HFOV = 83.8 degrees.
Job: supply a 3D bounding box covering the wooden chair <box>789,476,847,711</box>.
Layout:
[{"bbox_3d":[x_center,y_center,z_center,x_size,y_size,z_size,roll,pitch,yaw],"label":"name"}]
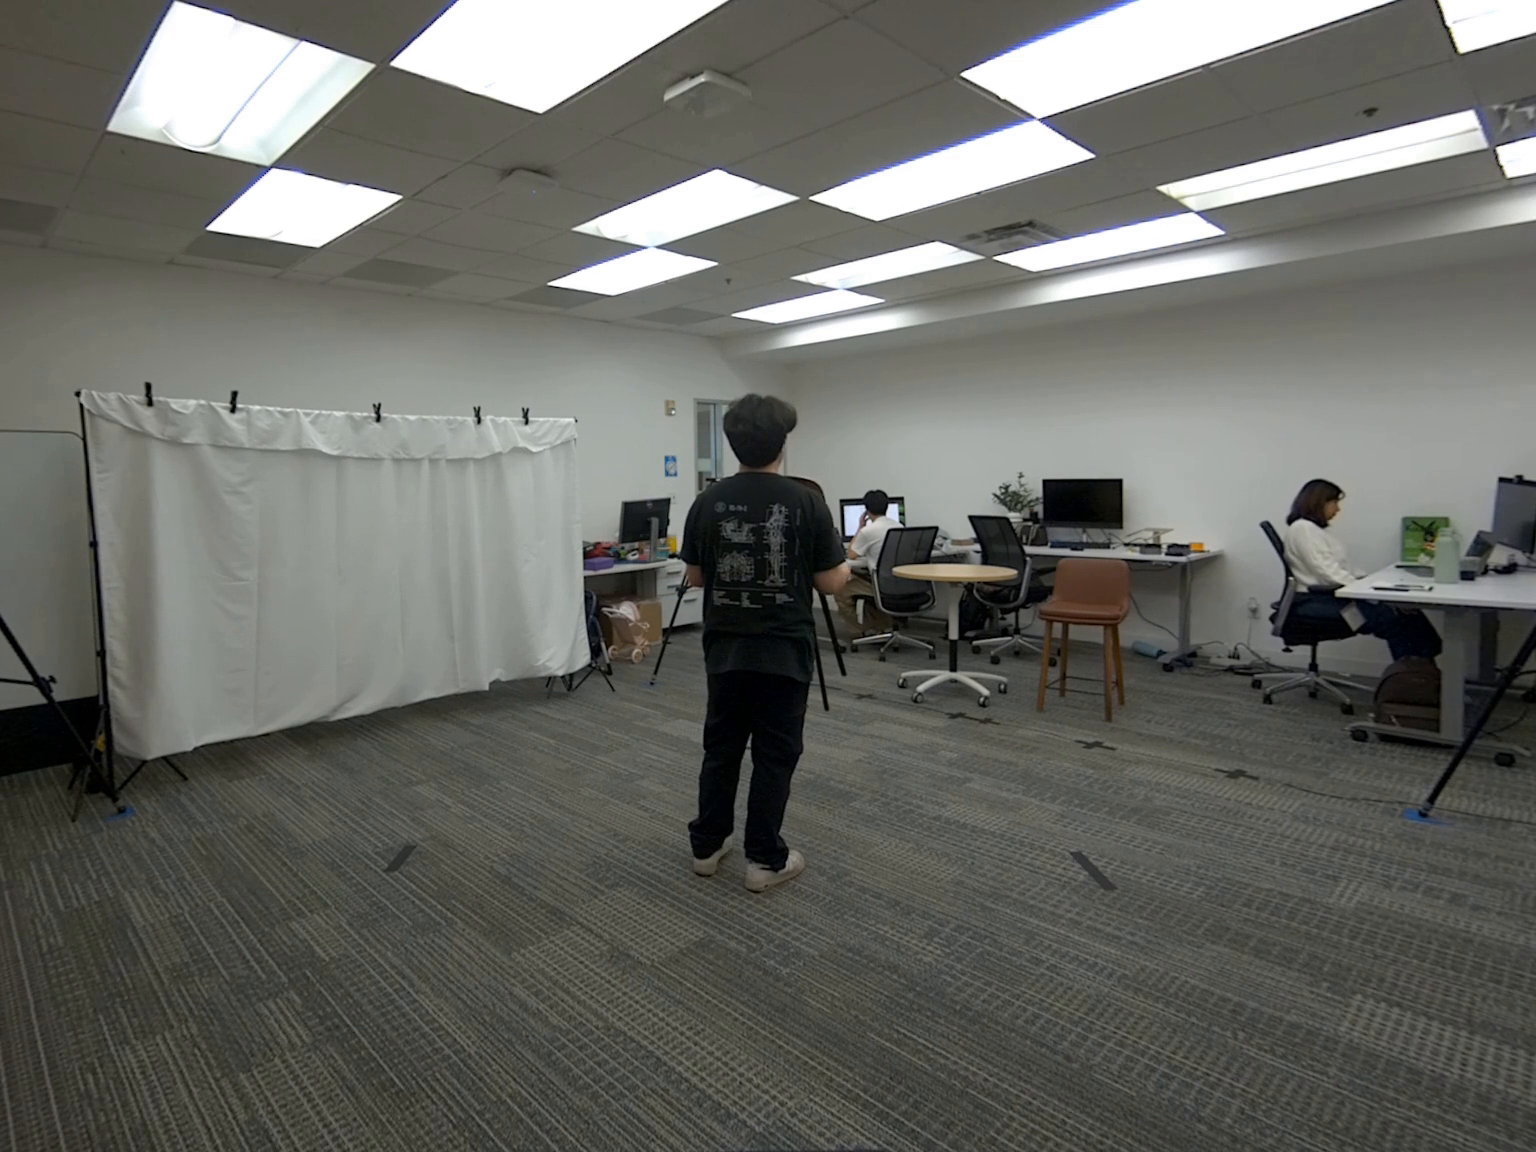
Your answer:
[{"bbox_3d":[0.053,0.018,3.270,0.486,0.868,0.521,1,12,15],"label":"wooden chair"}]
